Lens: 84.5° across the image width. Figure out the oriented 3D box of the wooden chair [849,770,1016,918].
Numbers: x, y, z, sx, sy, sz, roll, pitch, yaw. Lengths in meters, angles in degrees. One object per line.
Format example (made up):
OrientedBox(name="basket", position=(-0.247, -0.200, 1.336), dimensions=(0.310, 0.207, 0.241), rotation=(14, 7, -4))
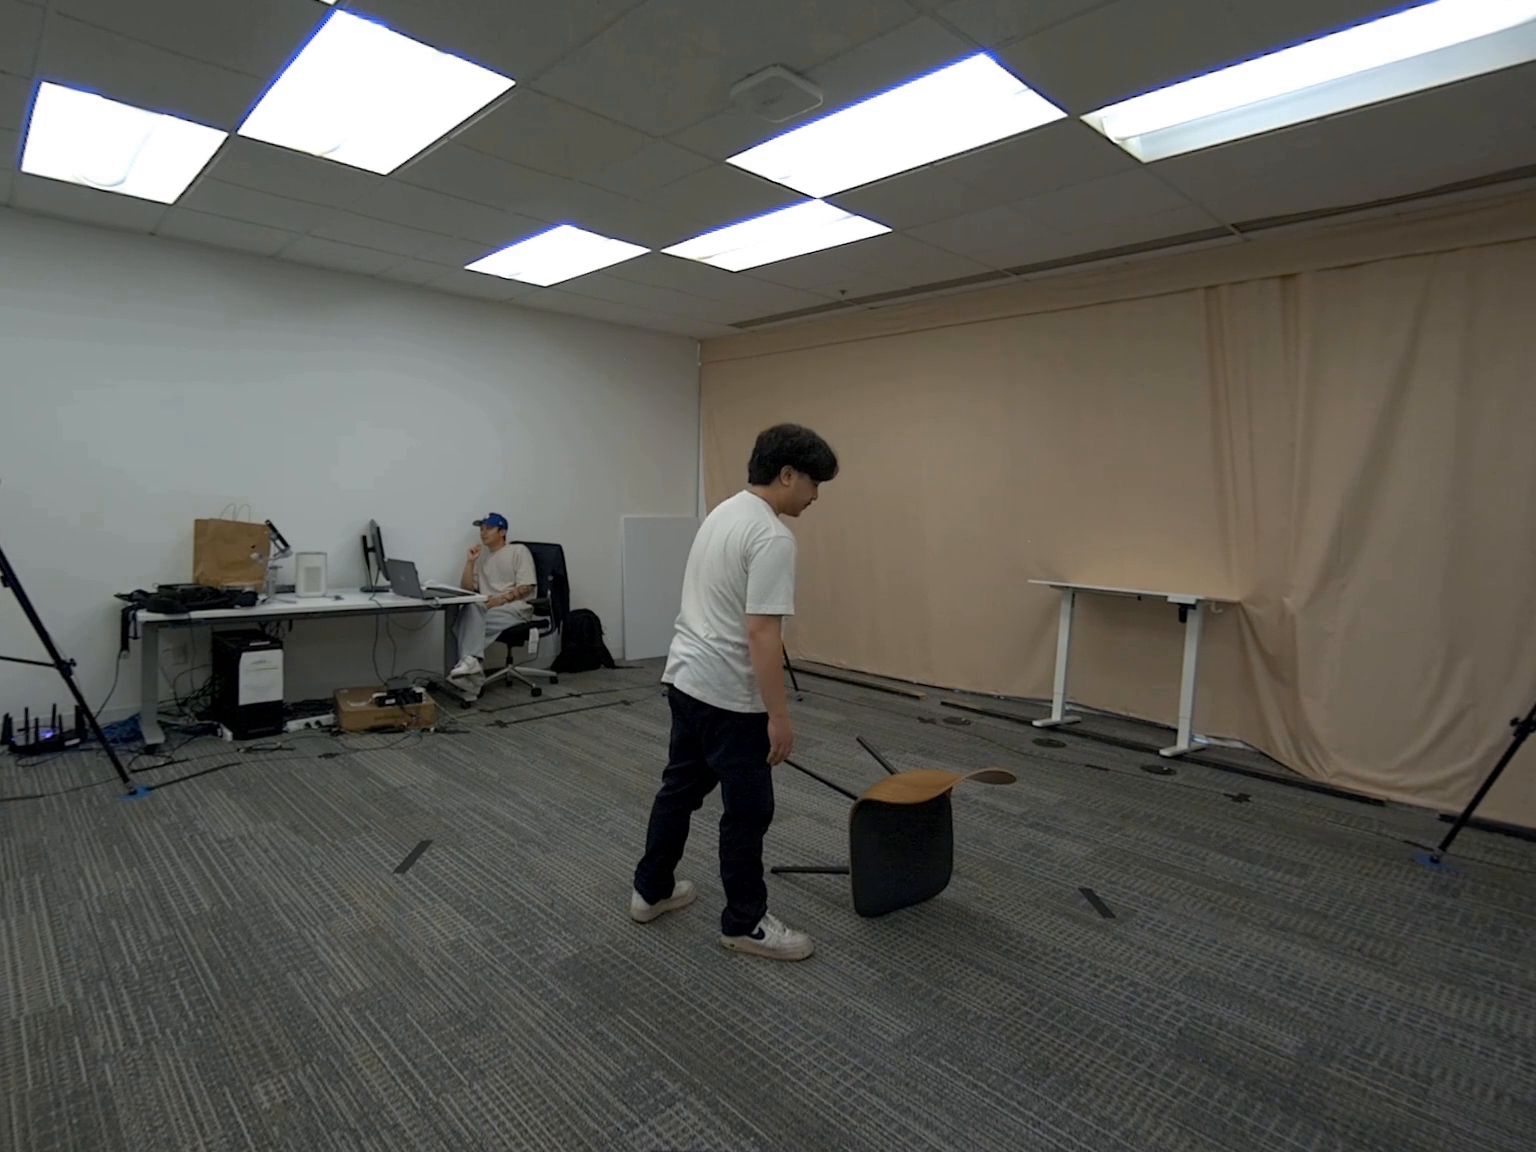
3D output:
OrientedBox(name="wooden chair", position=(0.429, 0.886, 2.910), dimensions=(0.467, 0.525, 0.894), rotation=(0, -4, -35))
